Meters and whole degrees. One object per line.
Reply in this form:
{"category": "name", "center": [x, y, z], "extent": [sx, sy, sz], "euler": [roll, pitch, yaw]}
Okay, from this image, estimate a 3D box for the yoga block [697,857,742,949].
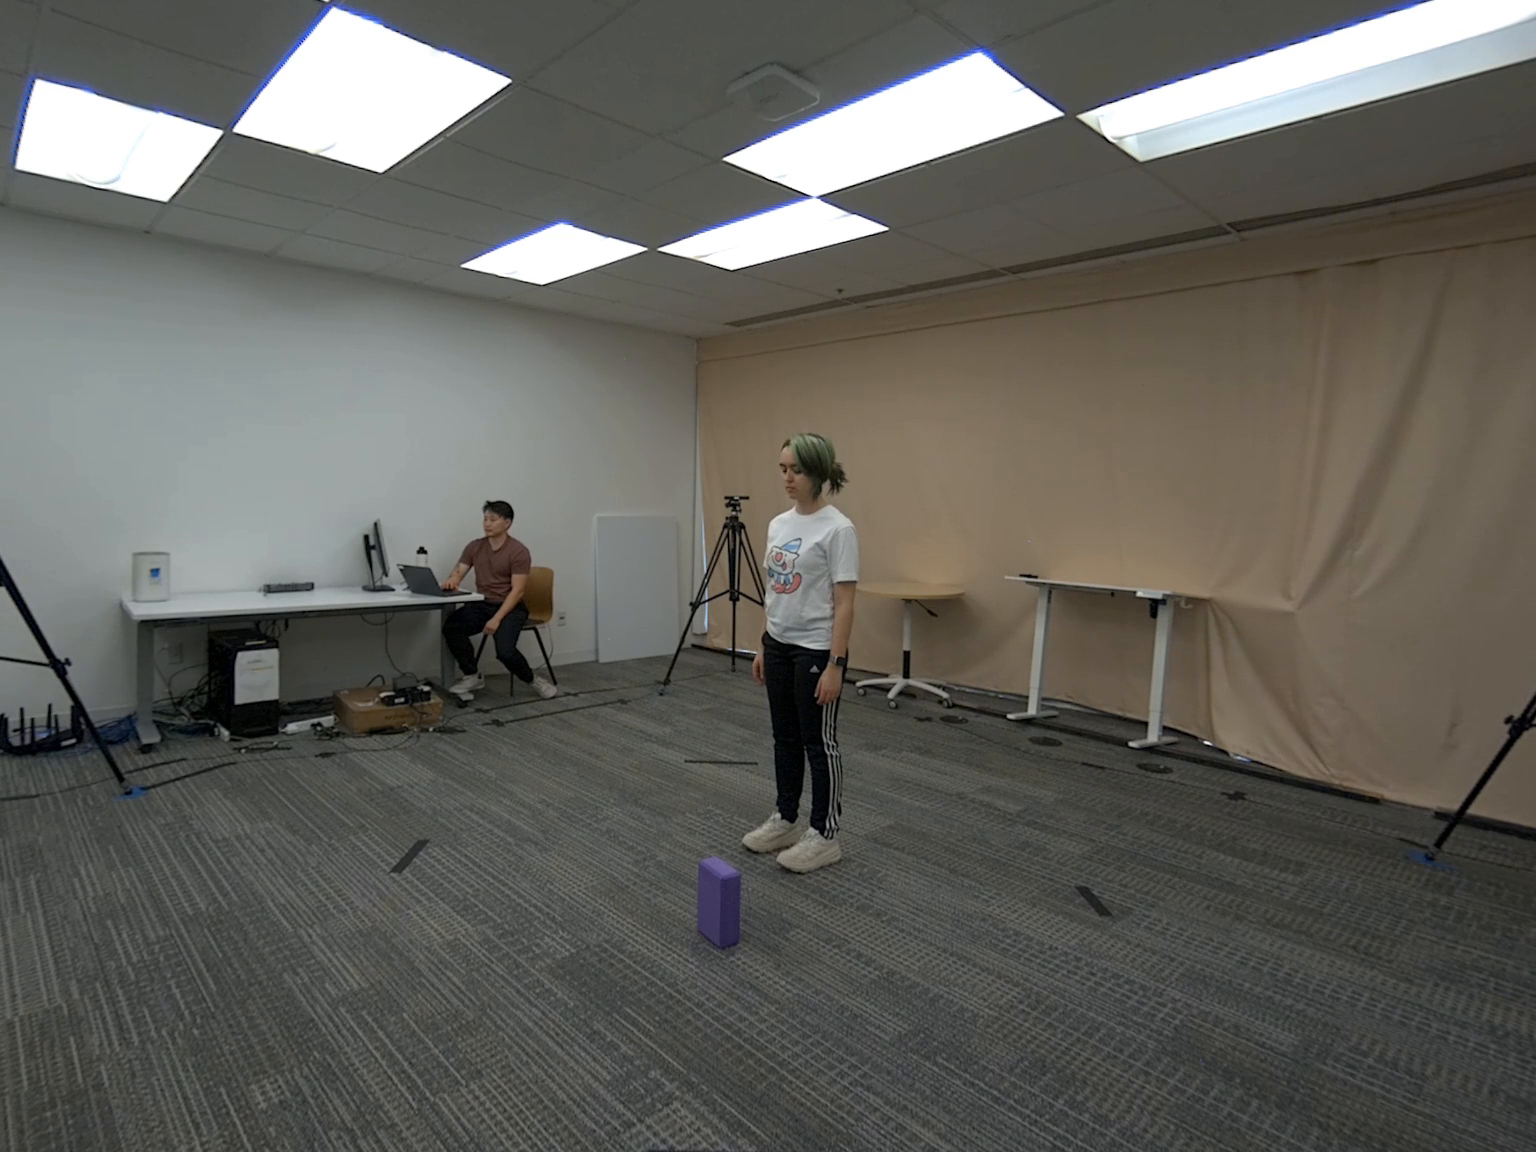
{"category": "yoga block", "center": [-0.159, 1.027, 2.654], "extent": [0.075, 0.229, 0.153], "euler": [0, 4, -36]}
